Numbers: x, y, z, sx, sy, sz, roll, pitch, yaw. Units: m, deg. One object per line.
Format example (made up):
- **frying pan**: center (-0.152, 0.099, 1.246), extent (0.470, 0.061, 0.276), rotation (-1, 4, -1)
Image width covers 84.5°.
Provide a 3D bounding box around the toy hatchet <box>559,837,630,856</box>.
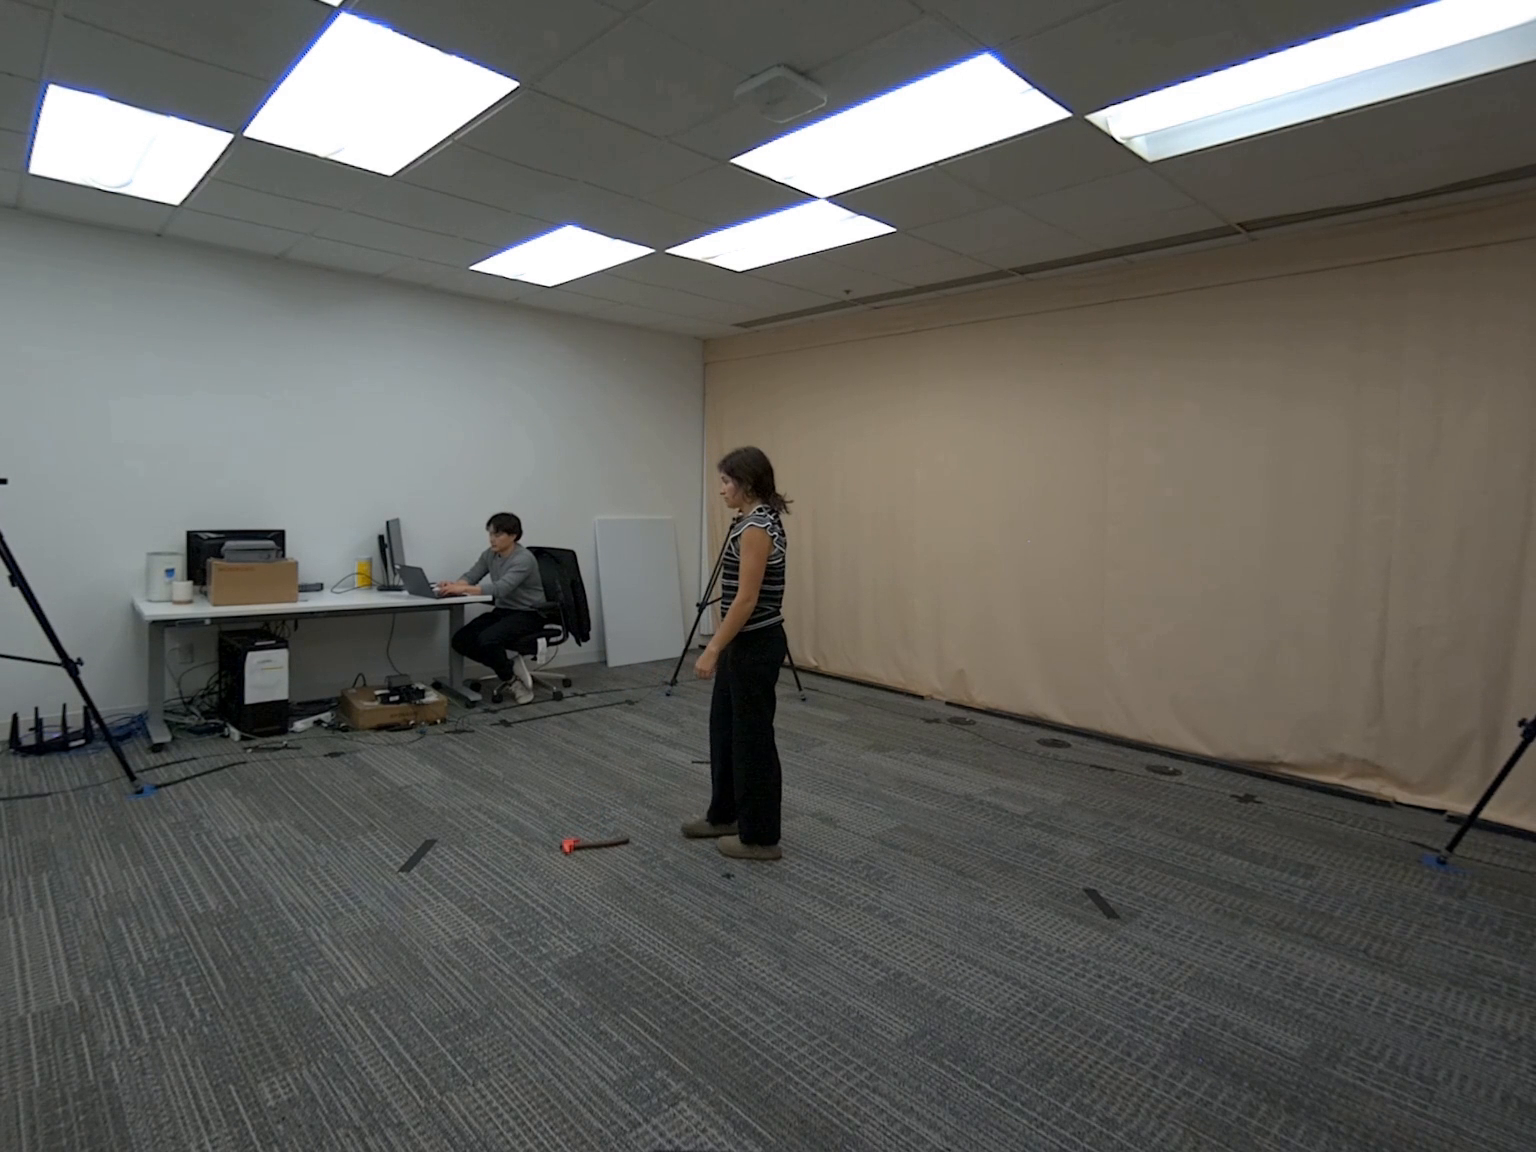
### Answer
- **toy hatchet**: center (-0.704, 1.051, 3.354), extent (0.264, 0.029, 0.134), rotation (0, 2, -33)
